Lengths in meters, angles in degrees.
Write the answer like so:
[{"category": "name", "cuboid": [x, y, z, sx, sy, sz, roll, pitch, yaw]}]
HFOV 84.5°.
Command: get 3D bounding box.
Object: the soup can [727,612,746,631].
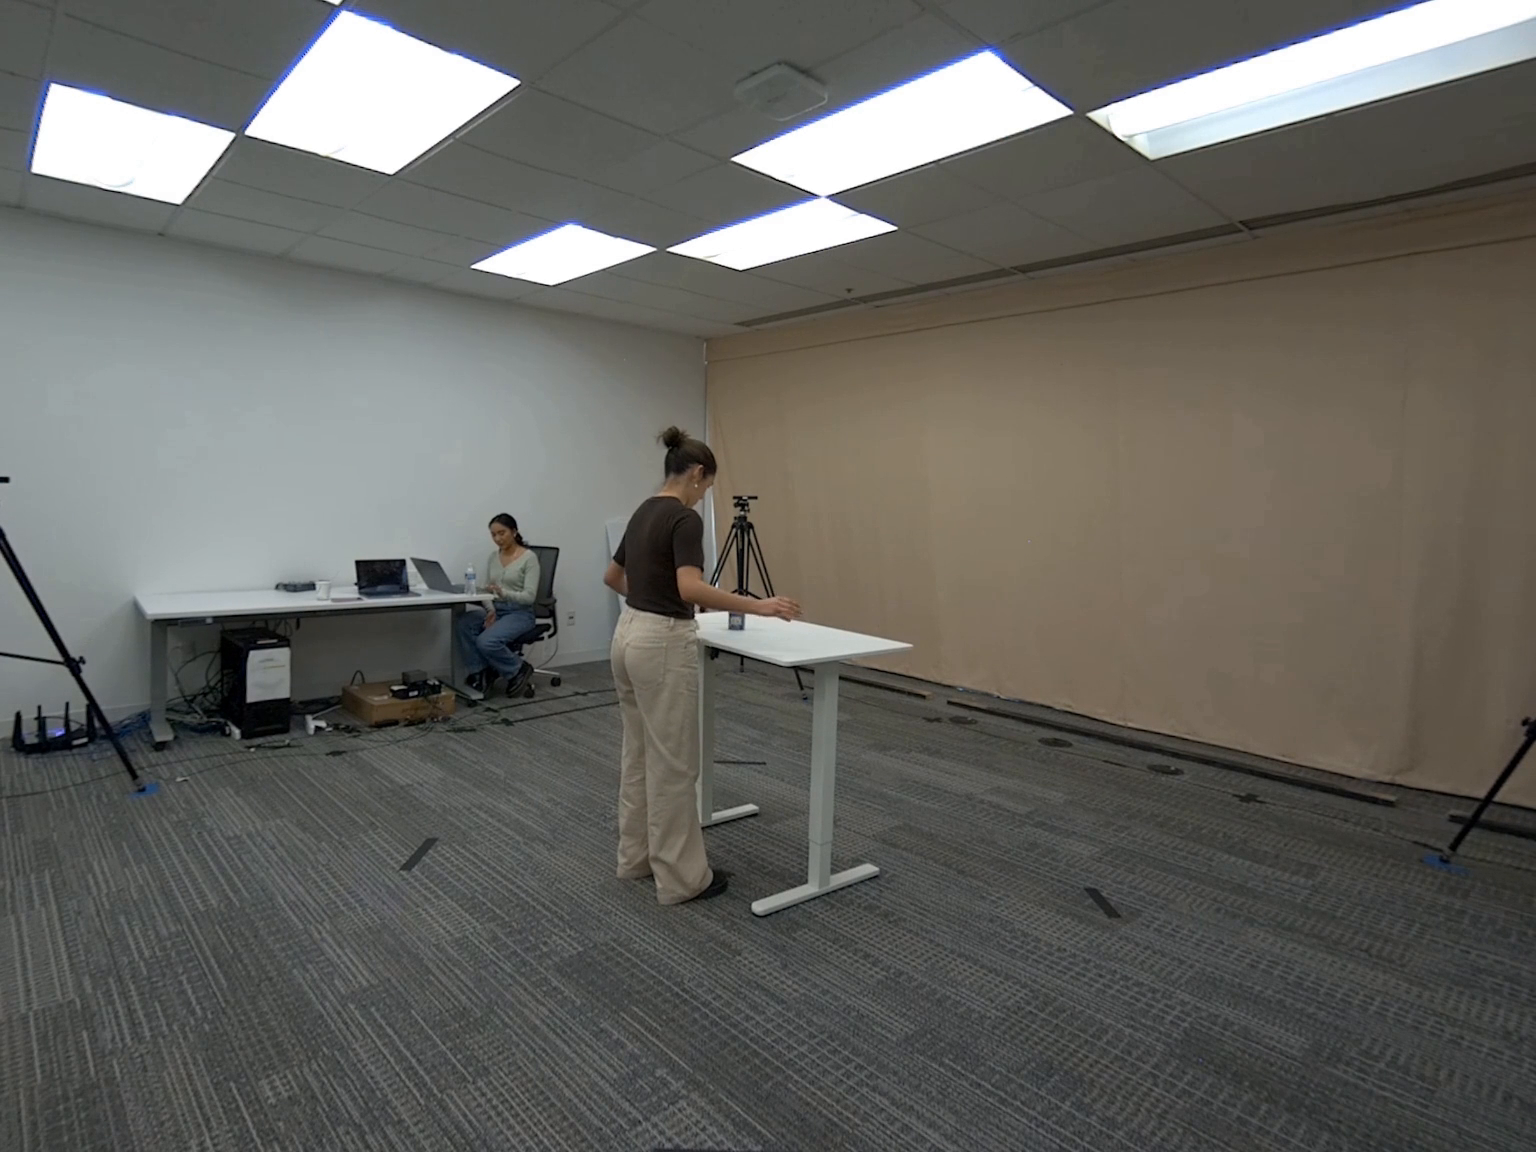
[{"category": "soup can", "cuboid": [-0.126, 0.152, 3.241, 0.067, 0.121, 0.067, 0, 4, -1]}]
